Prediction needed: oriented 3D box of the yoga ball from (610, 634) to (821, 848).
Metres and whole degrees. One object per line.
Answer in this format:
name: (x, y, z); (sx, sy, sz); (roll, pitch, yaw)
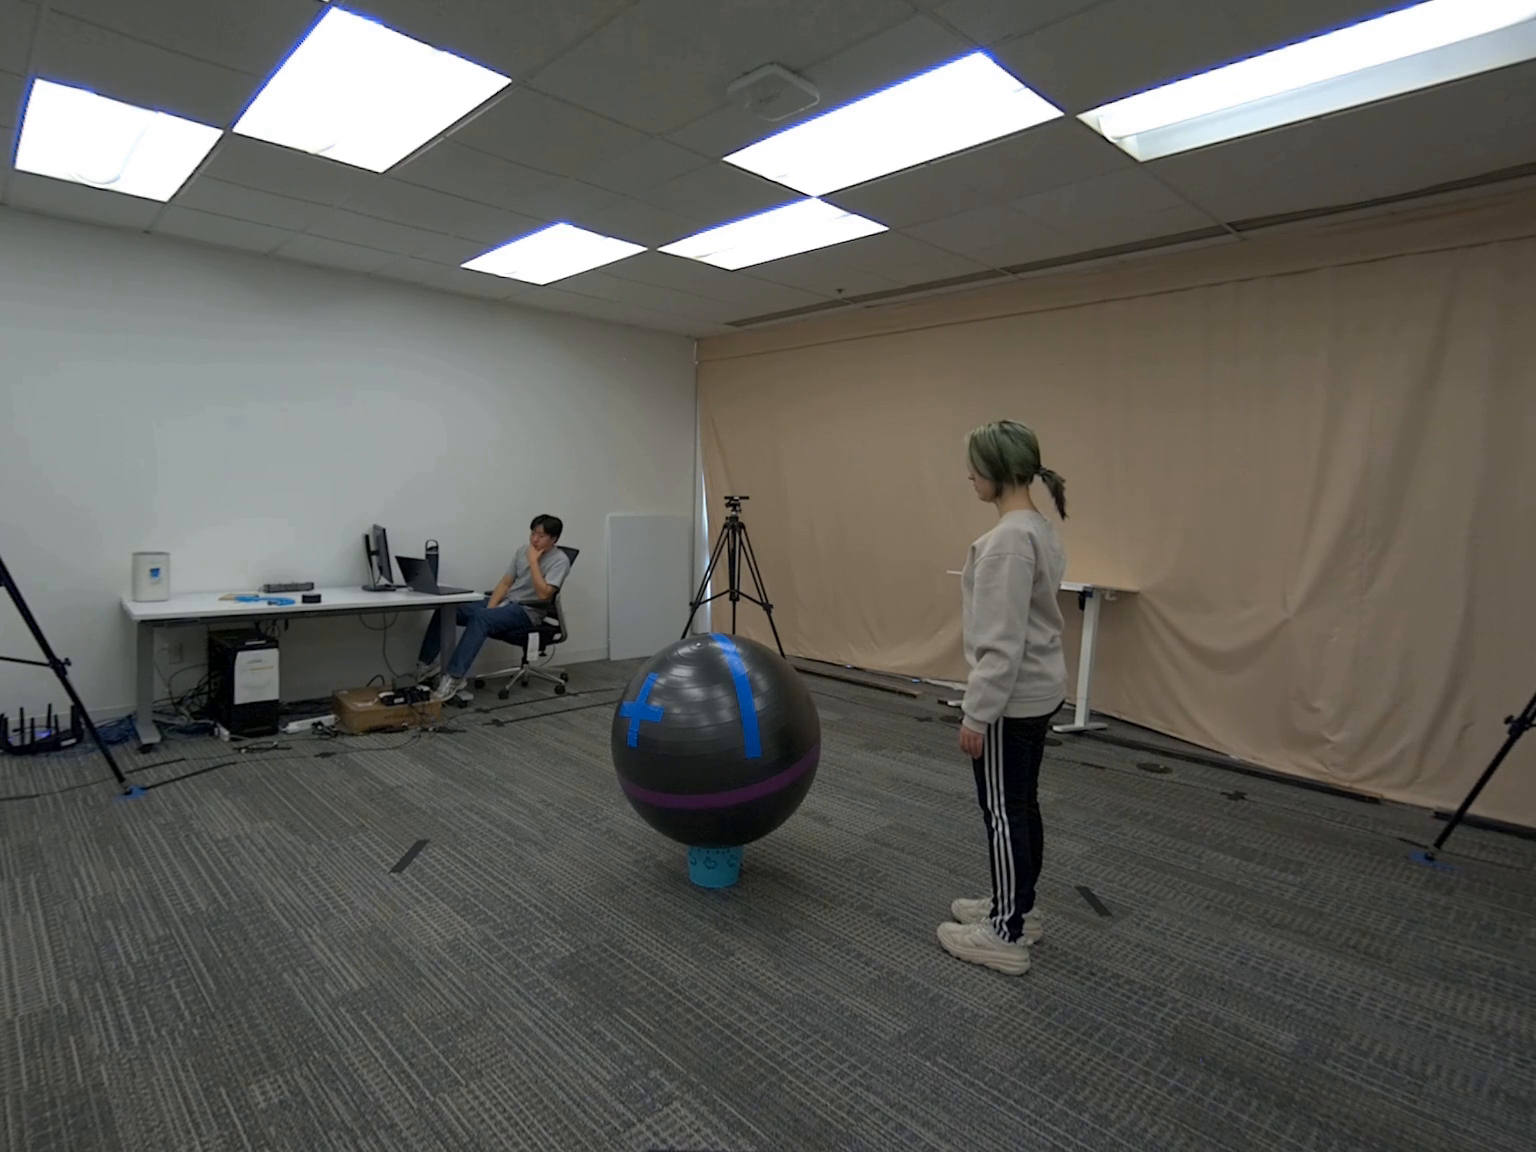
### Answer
yoga ball: (-0.200, 0.593, 3.065); (0.757, 0.756, 0.761); (1, 4, -1)
